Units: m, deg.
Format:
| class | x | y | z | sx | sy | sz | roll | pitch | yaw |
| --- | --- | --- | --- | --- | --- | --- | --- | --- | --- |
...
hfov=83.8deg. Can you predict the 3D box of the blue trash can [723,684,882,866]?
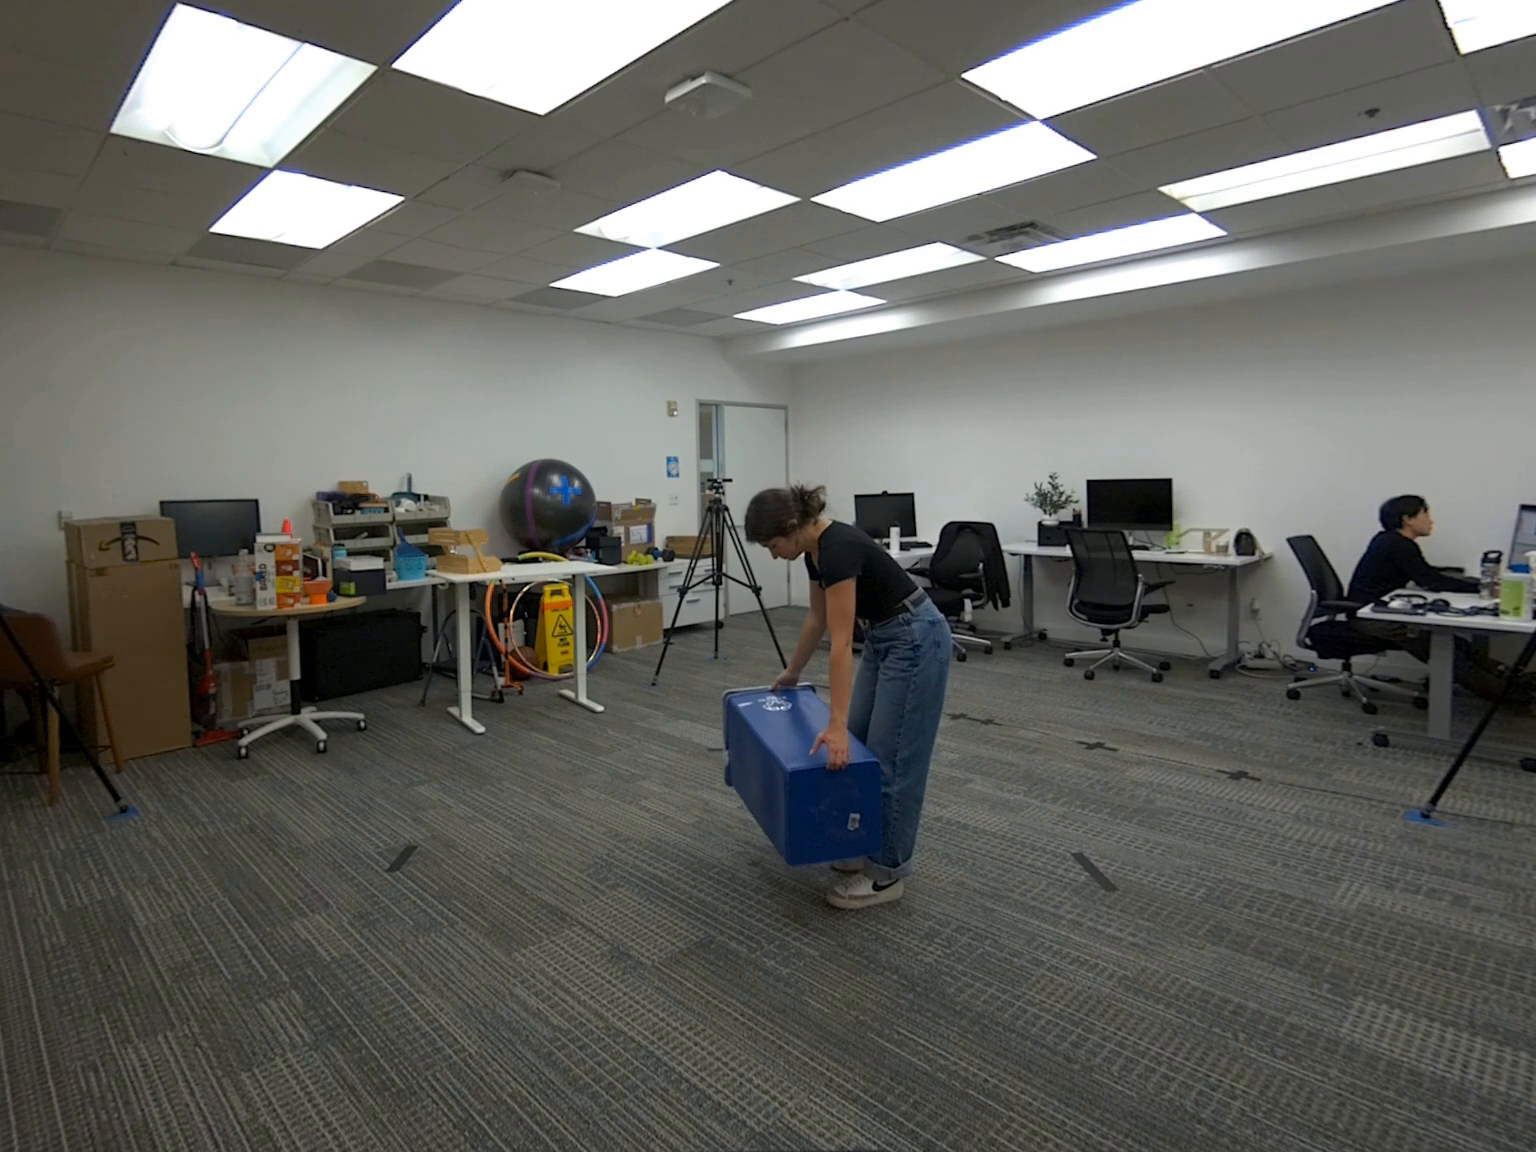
| class | x | y | z | sx | sy | sz | roll | pitch | yaw |
| --- | --- | --- | --- | --- | --- | --- | --- | --- | --- |
| blue trash can | 0.100 | 0.659 | 2.900 | 0.373 | 0.371 | 0.728 | -3 | 9 | -15 |
